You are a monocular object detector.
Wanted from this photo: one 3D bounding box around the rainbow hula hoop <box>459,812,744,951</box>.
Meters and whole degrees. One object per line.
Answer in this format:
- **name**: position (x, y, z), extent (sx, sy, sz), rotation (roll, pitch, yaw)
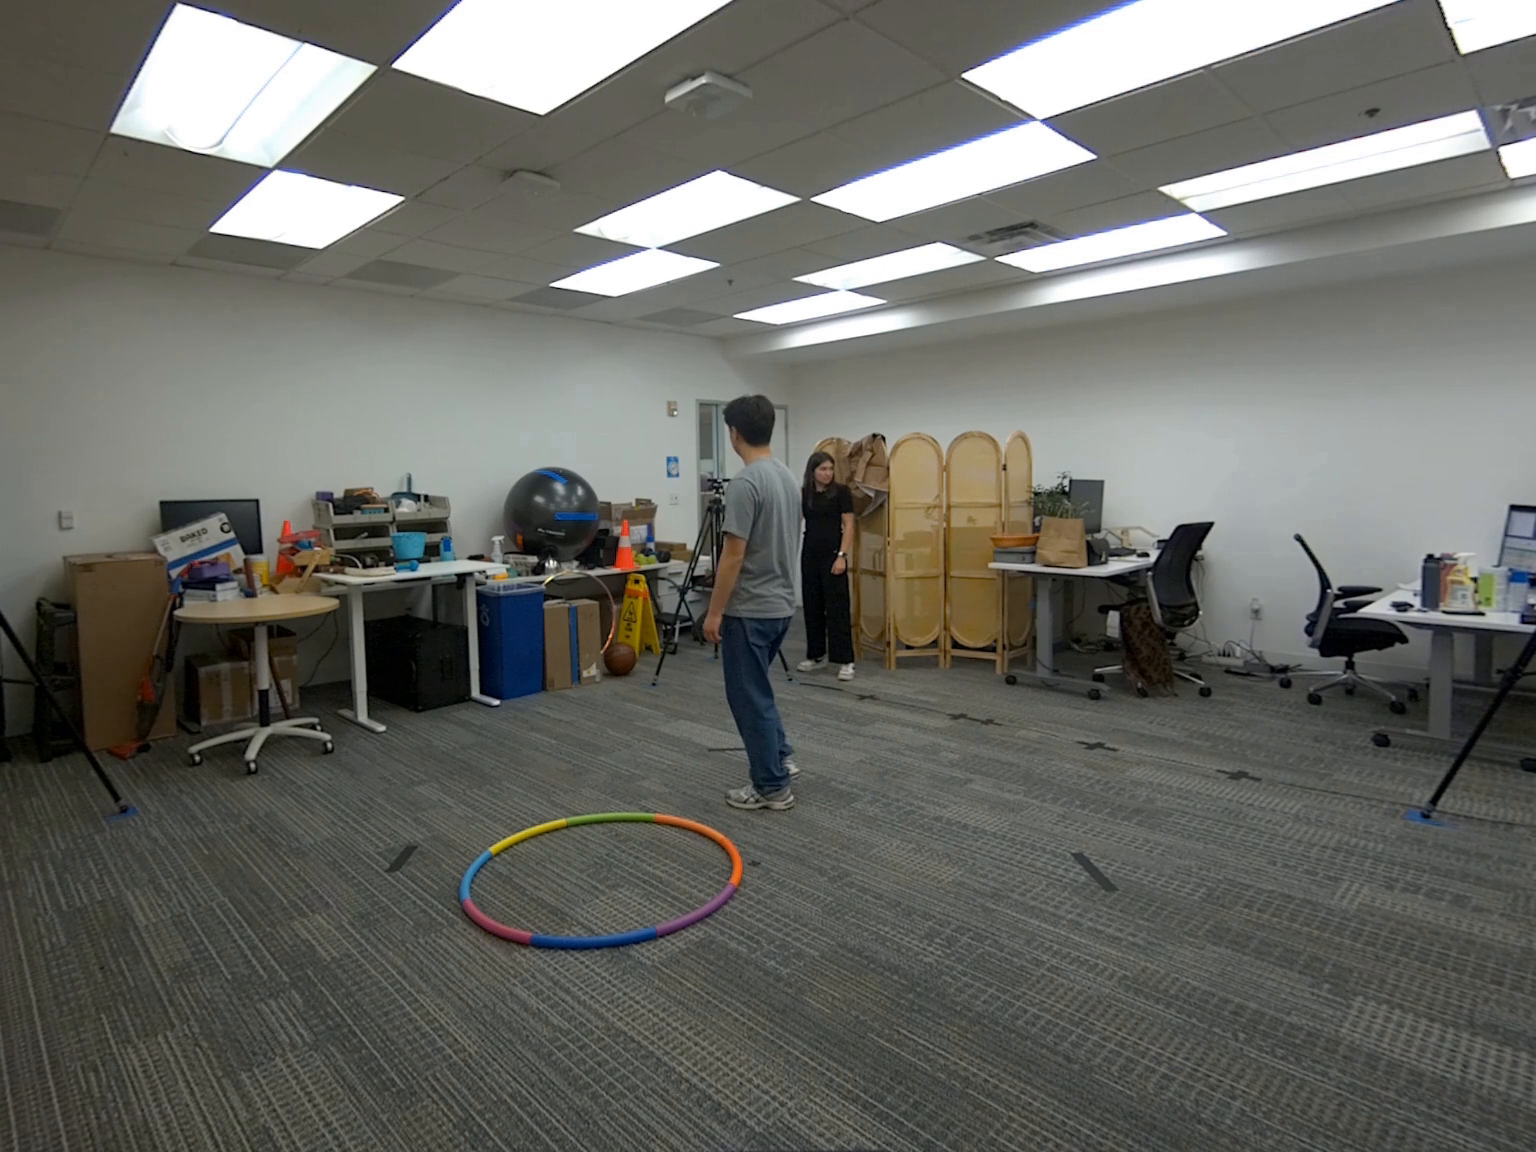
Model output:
- **rainbow hula hoop**: position (-0.577, 1.032, 3.038), extent (0.978, 0.035, 0.984), rotation (-1, 7, -2)
